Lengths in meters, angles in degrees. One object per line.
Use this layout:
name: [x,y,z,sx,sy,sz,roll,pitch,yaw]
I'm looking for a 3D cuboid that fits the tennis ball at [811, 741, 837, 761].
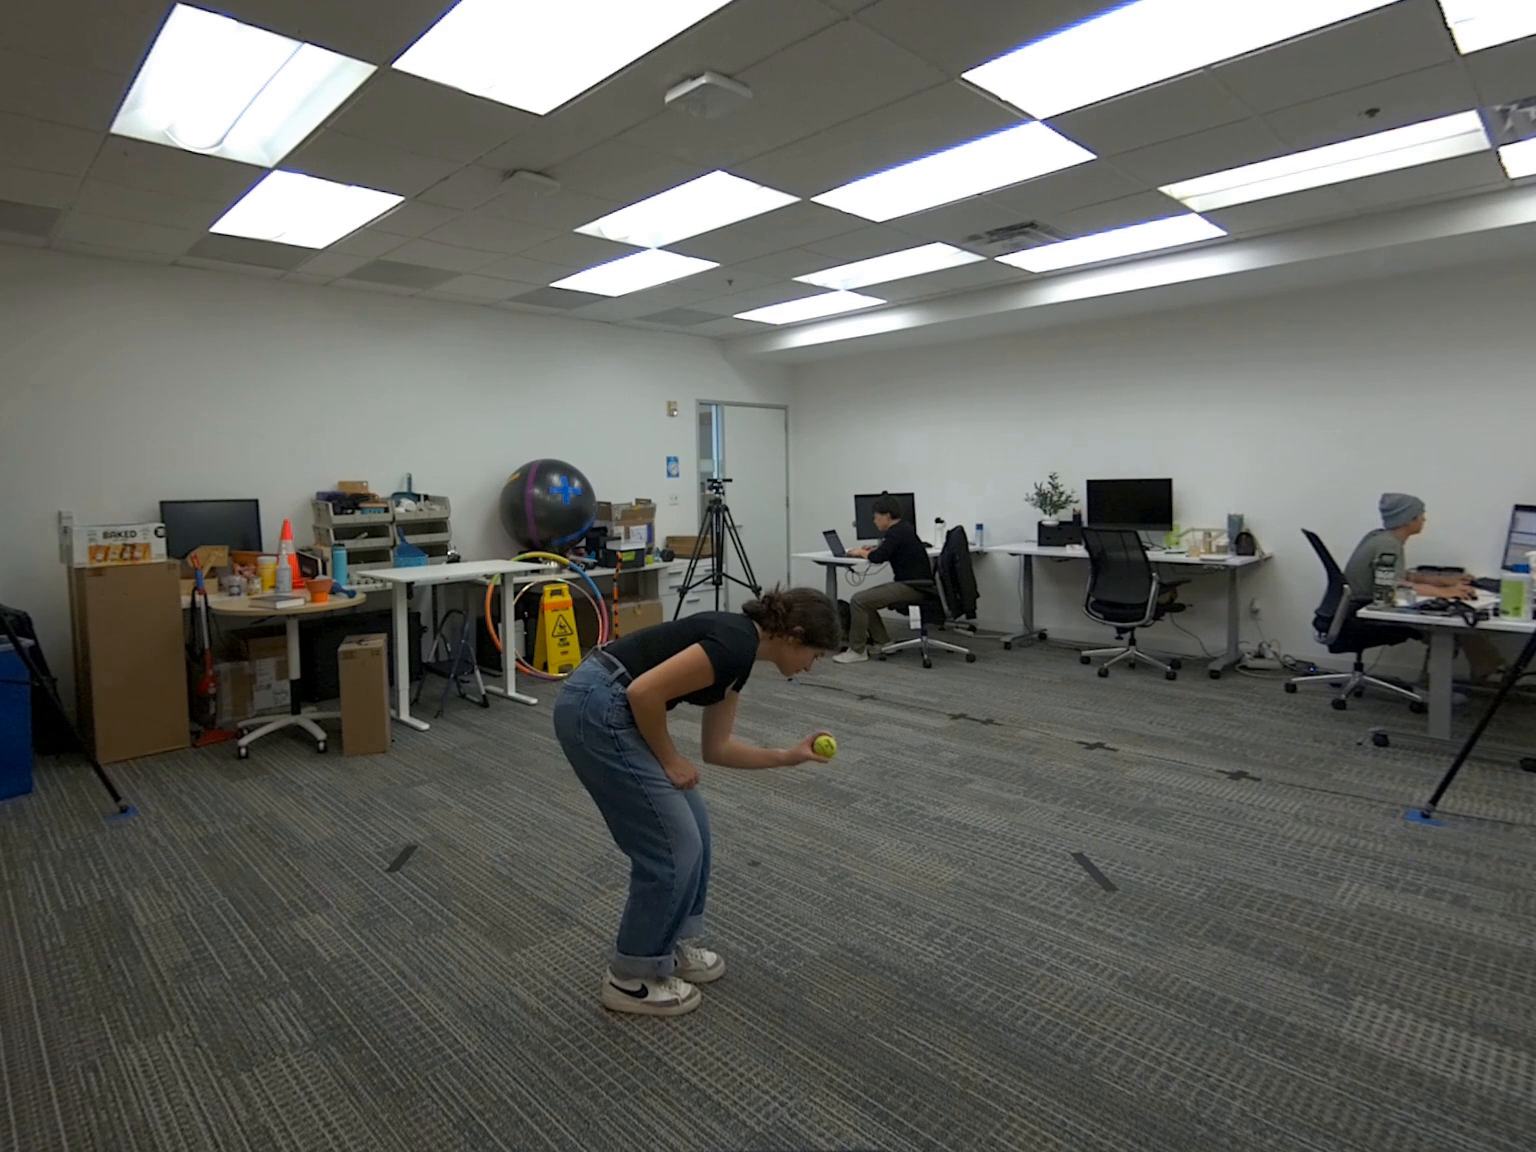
tennis ball: [0.159,0.541,2.457,0.066,0.066,0.067,-1,5,-2]
